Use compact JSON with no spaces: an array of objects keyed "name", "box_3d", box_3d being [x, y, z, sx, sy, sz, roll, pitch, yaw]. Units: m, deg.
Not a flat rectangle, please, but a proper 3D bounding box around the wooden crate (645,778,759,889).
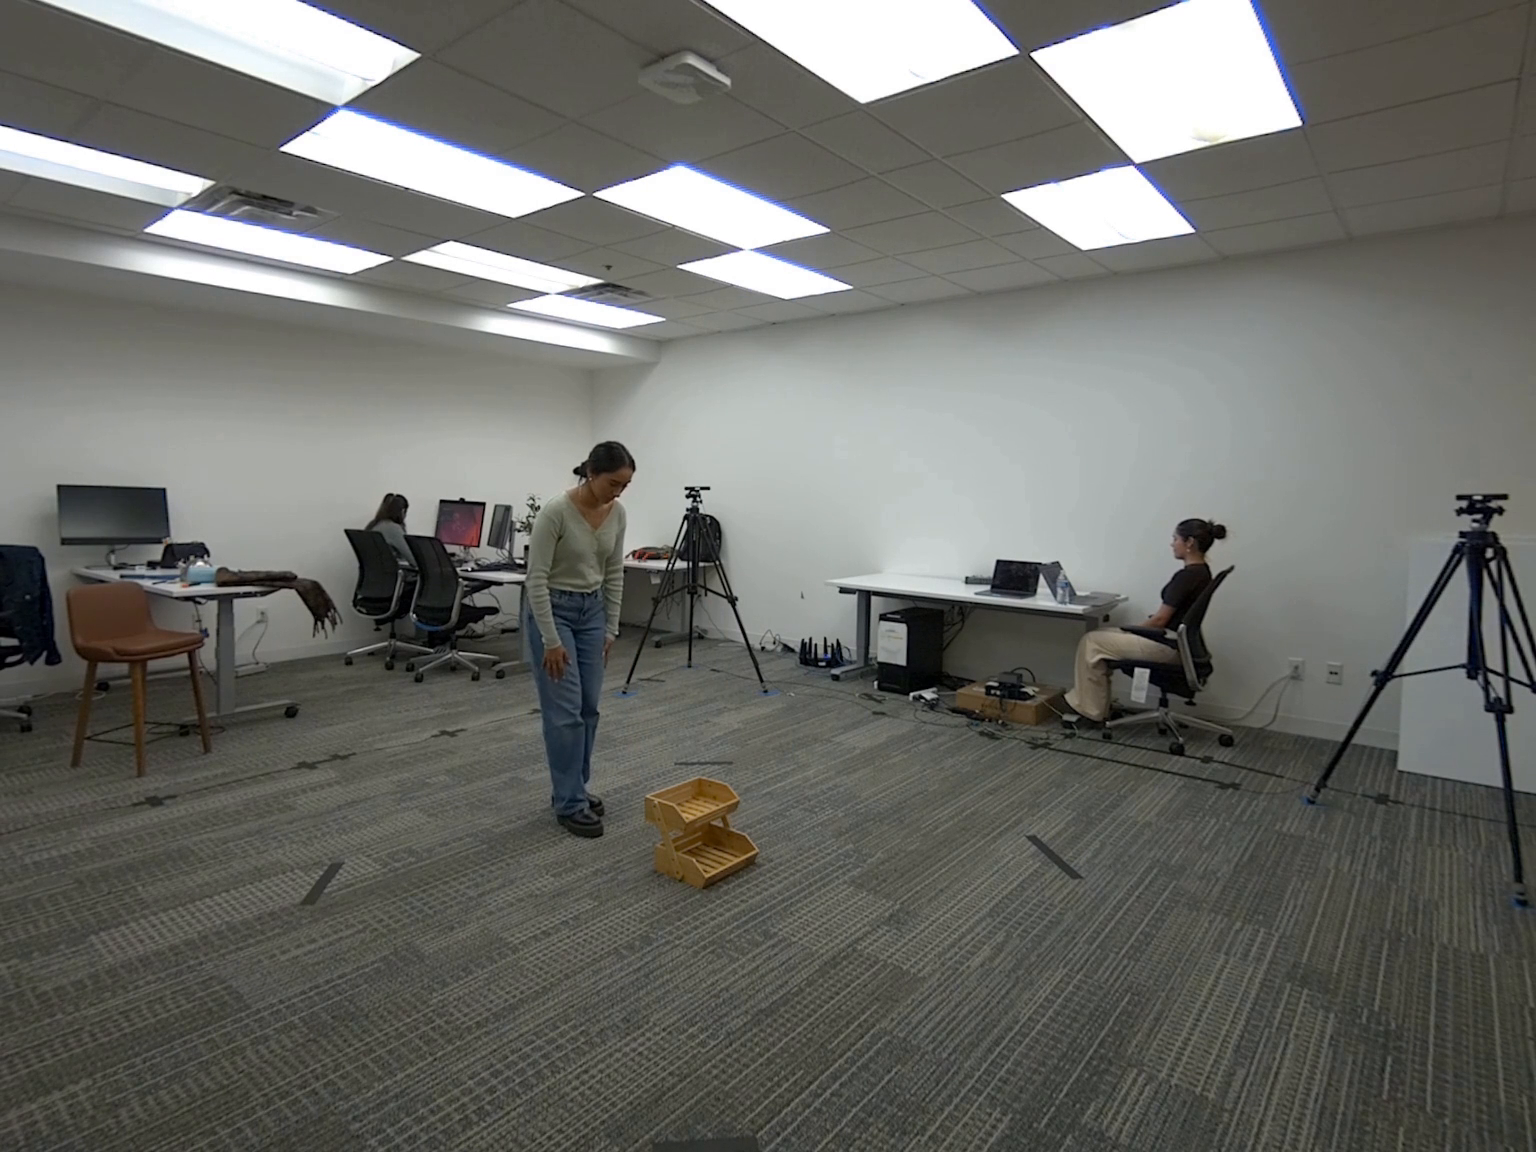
[{"name":"wooden crate","box_3d":[-0.252,0.927,3.132,0.312,0.272,0.315,3,5,39]}]
